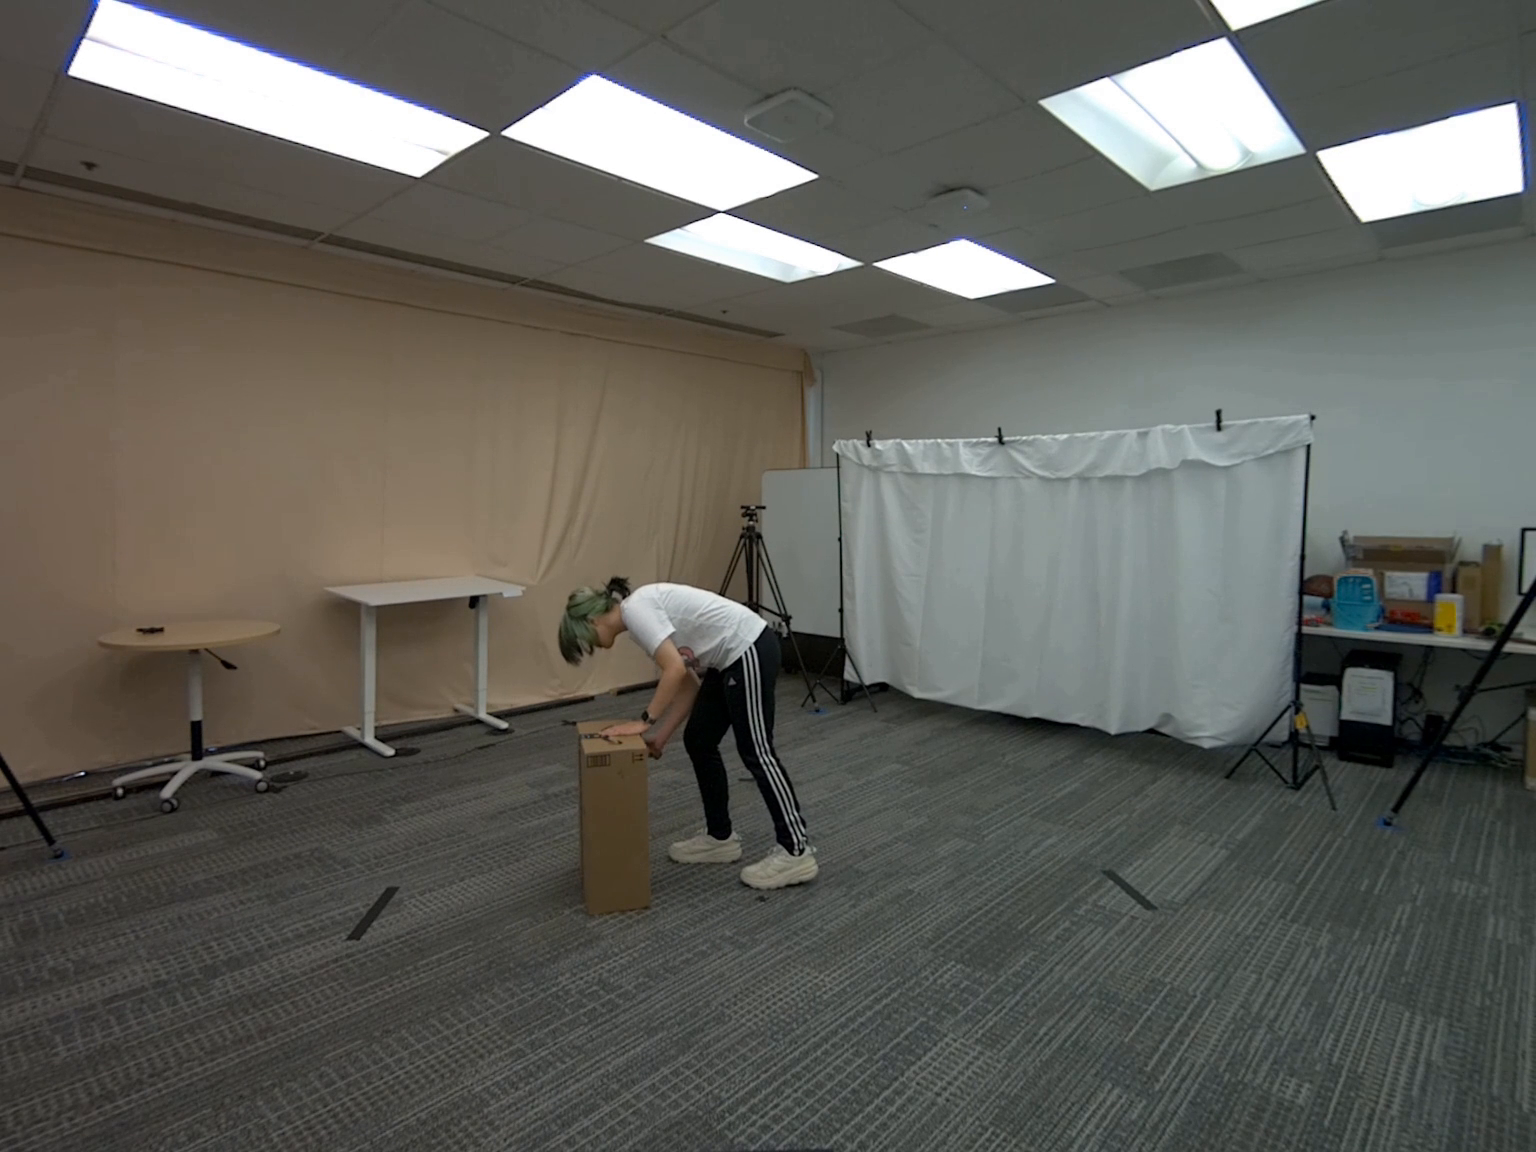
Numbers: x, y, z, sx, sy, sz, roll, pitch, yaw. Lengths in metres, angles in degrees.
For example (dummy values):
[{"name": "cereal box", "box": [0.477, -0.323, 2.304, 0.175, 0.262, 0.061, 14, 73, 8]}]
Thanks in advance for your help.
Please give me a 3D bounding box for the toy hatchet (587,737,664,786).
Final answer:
[{"name": "toy hatchet", "box": [-0.566, 0.723, 3.360, 0.277, 0.029, 0.131, 14, 48, 21]}]
